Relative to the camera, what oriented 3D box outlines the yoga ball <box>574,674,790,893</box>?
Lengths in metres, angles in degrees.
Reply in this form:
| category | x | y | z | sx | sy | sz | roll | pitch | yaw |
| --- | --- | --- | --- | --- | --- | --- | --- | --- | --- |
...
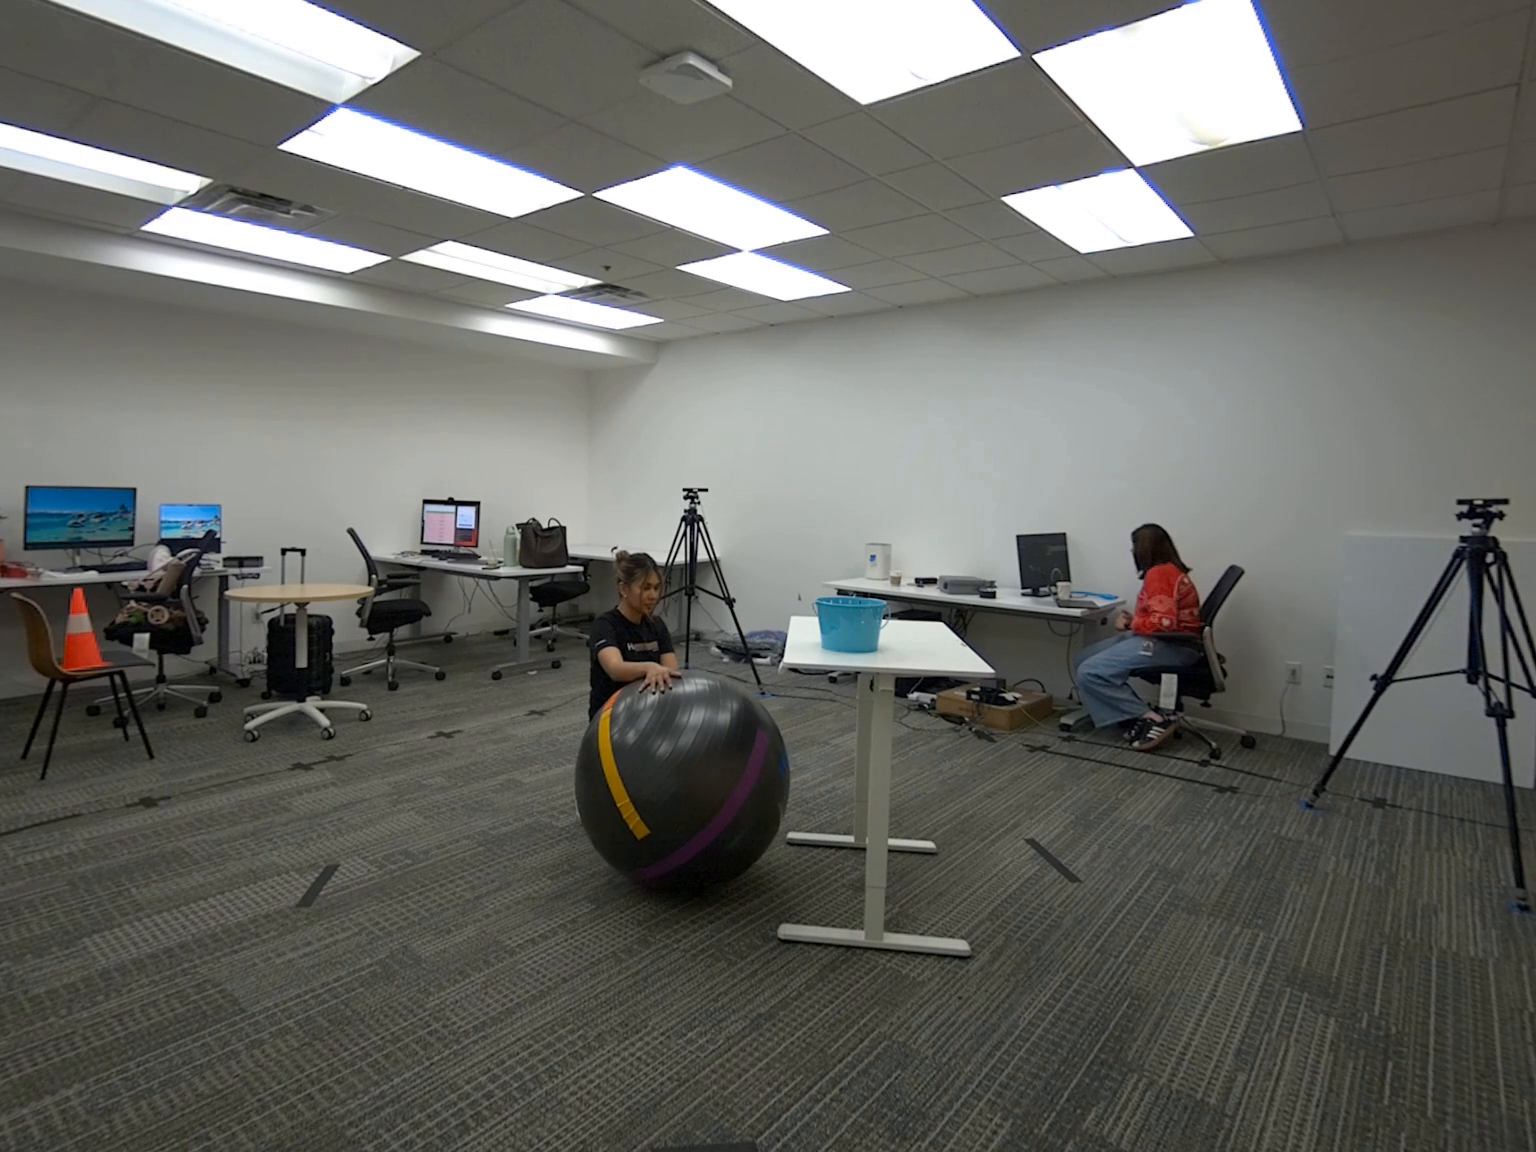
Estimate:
| category | x | y | z | sx | sy | sz | roll | pitch | yaw |
| --- | --- | --- | --- | --- | --- | --- | --- | --- | --- |
| yoga ball | -0.311 | 0.714 | 3.007 | 0.757 | 0.756 | 0.762 | 1 | 4 | -2 |
